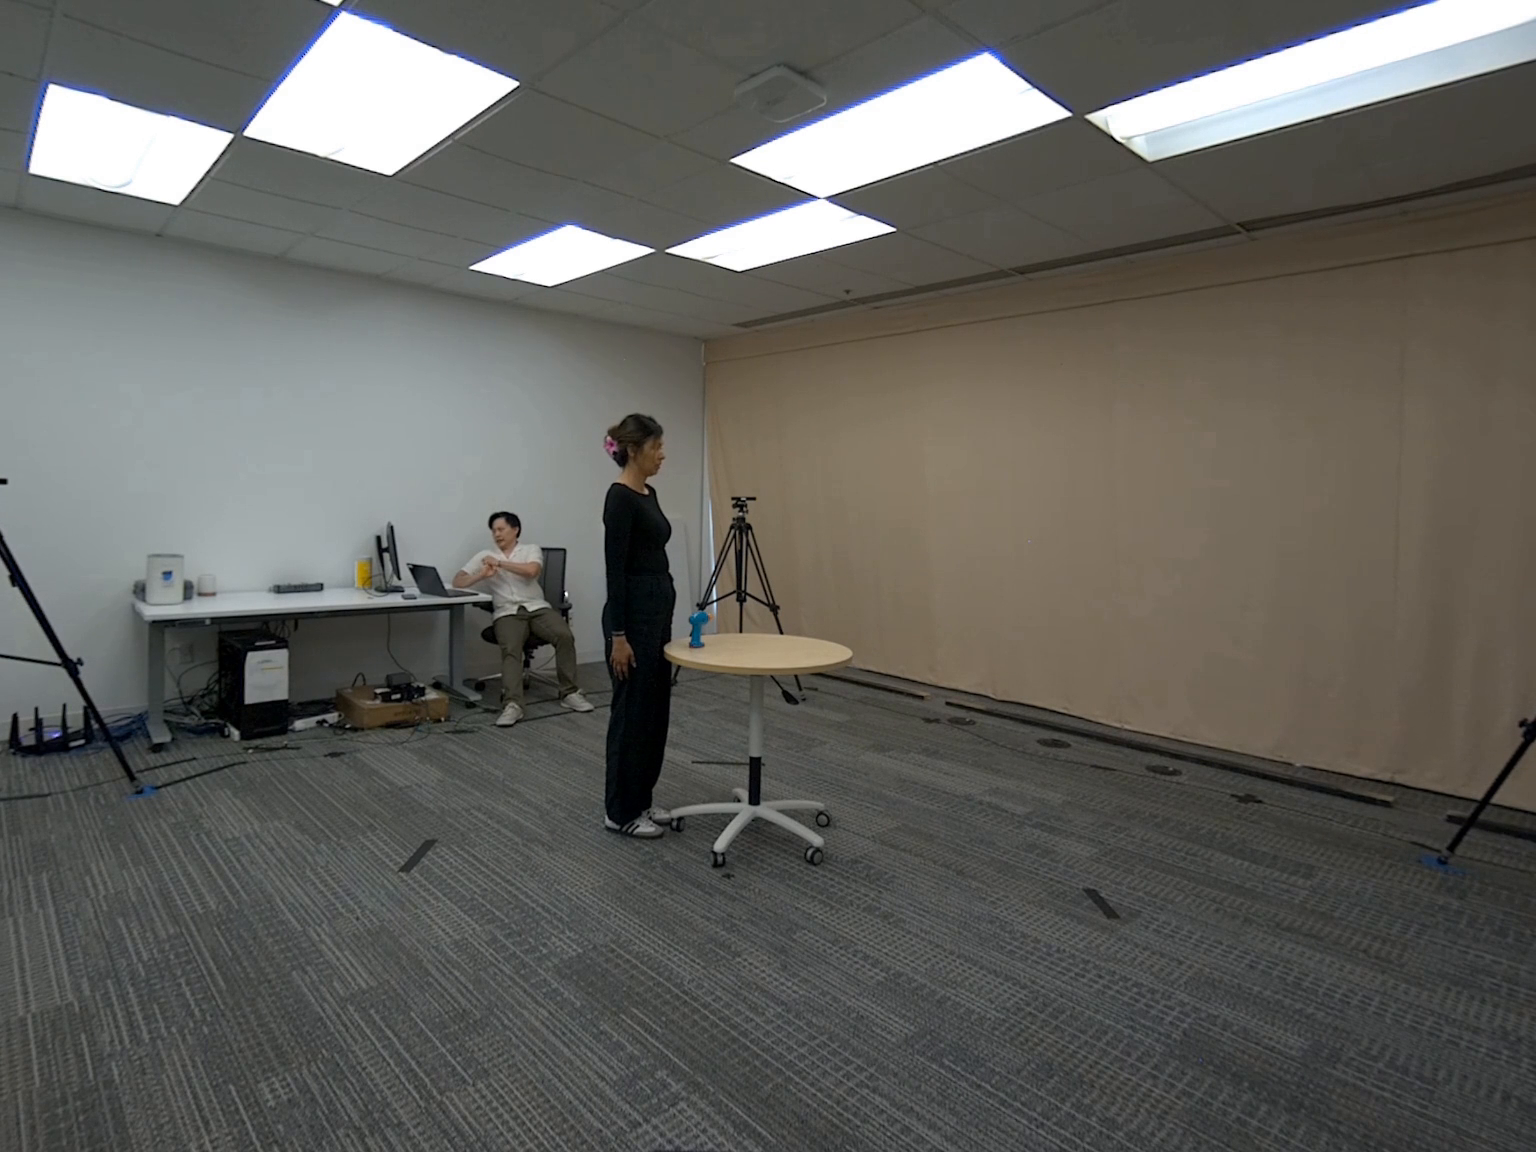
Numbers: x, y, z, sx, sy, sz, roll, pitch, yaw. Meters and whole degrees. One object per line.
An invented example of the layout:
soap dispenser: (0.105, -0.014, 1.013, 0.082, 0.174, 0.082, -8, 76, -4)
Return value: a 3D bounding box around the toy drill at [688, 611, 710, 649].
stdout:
toy drill: (-0.285, 0.213, 3.480, 0.062, 0.146, 0.167, 3, 4, 27)
